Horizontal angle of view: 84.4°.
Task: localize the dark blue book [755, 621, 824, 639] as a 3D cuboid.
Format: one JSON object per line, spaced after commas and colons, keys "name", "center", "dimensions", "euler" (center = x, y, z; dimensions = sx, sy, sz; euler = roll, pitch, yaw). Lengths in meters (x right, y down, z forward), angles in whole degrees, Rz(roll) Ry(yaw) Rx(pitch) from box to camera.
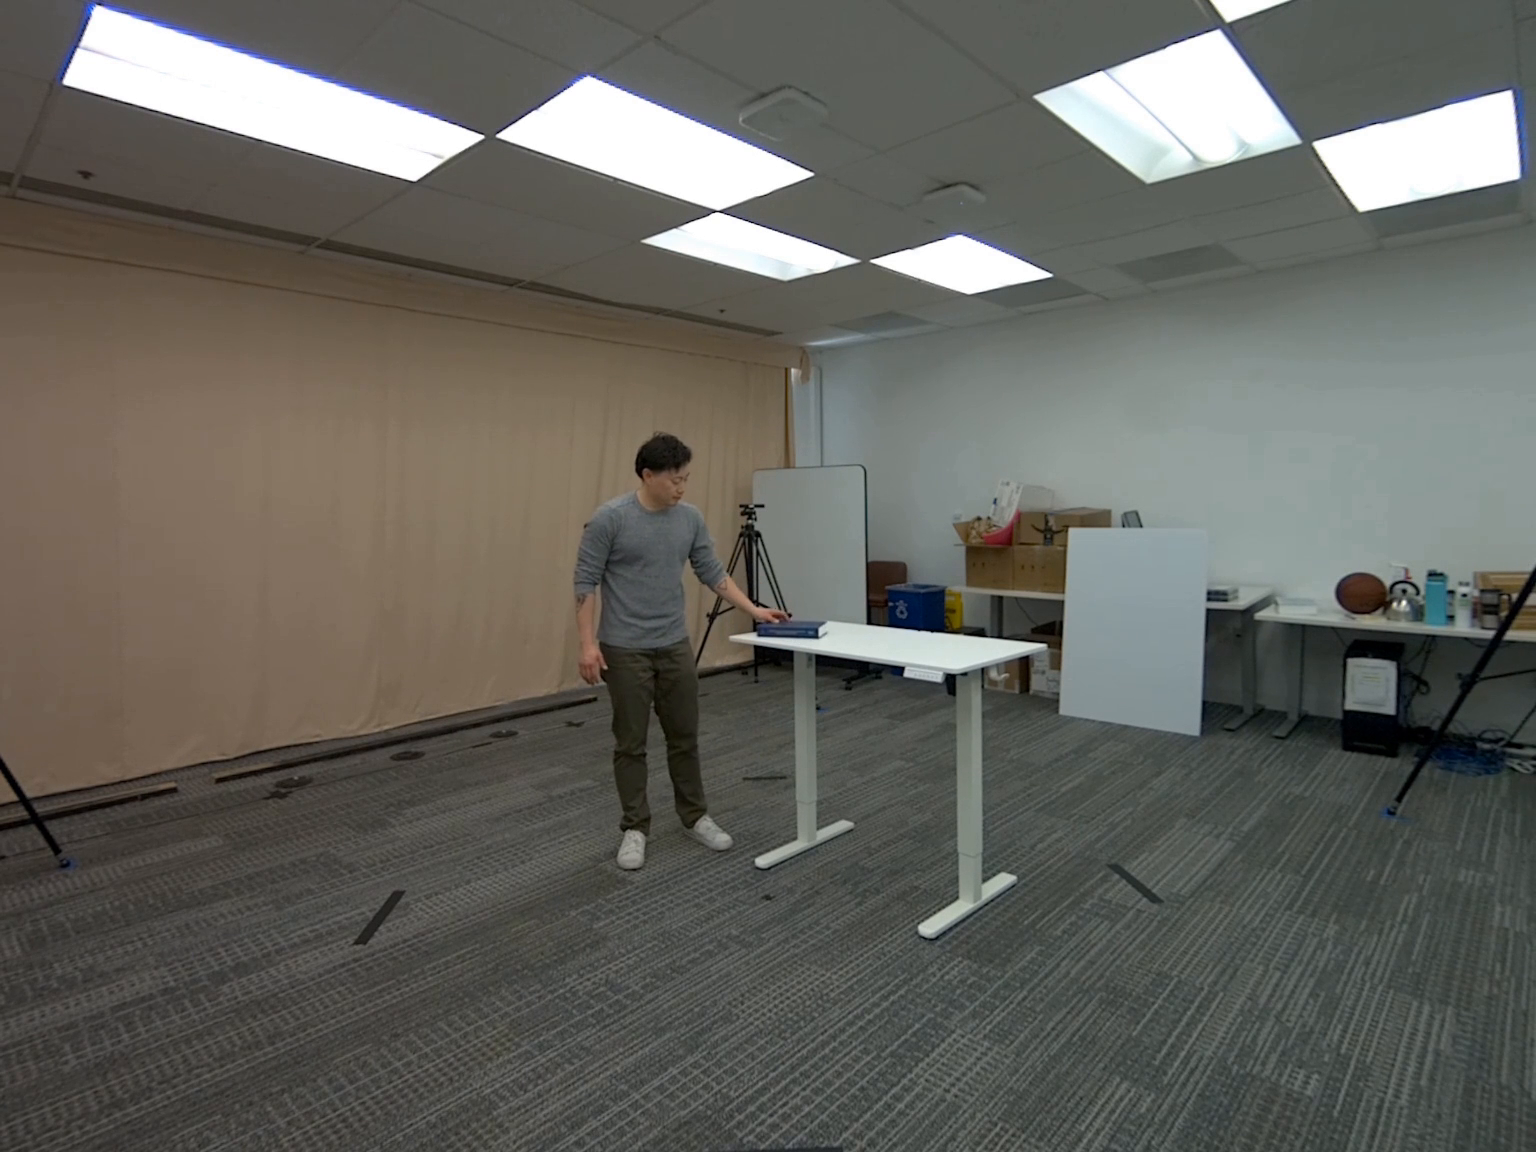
{"name": "dark blue book", "center": [0.103, 0.210, 3.290], "dimensions": [0.250, 0.045, 0.160], "euler": [-1, 4, 19]}
